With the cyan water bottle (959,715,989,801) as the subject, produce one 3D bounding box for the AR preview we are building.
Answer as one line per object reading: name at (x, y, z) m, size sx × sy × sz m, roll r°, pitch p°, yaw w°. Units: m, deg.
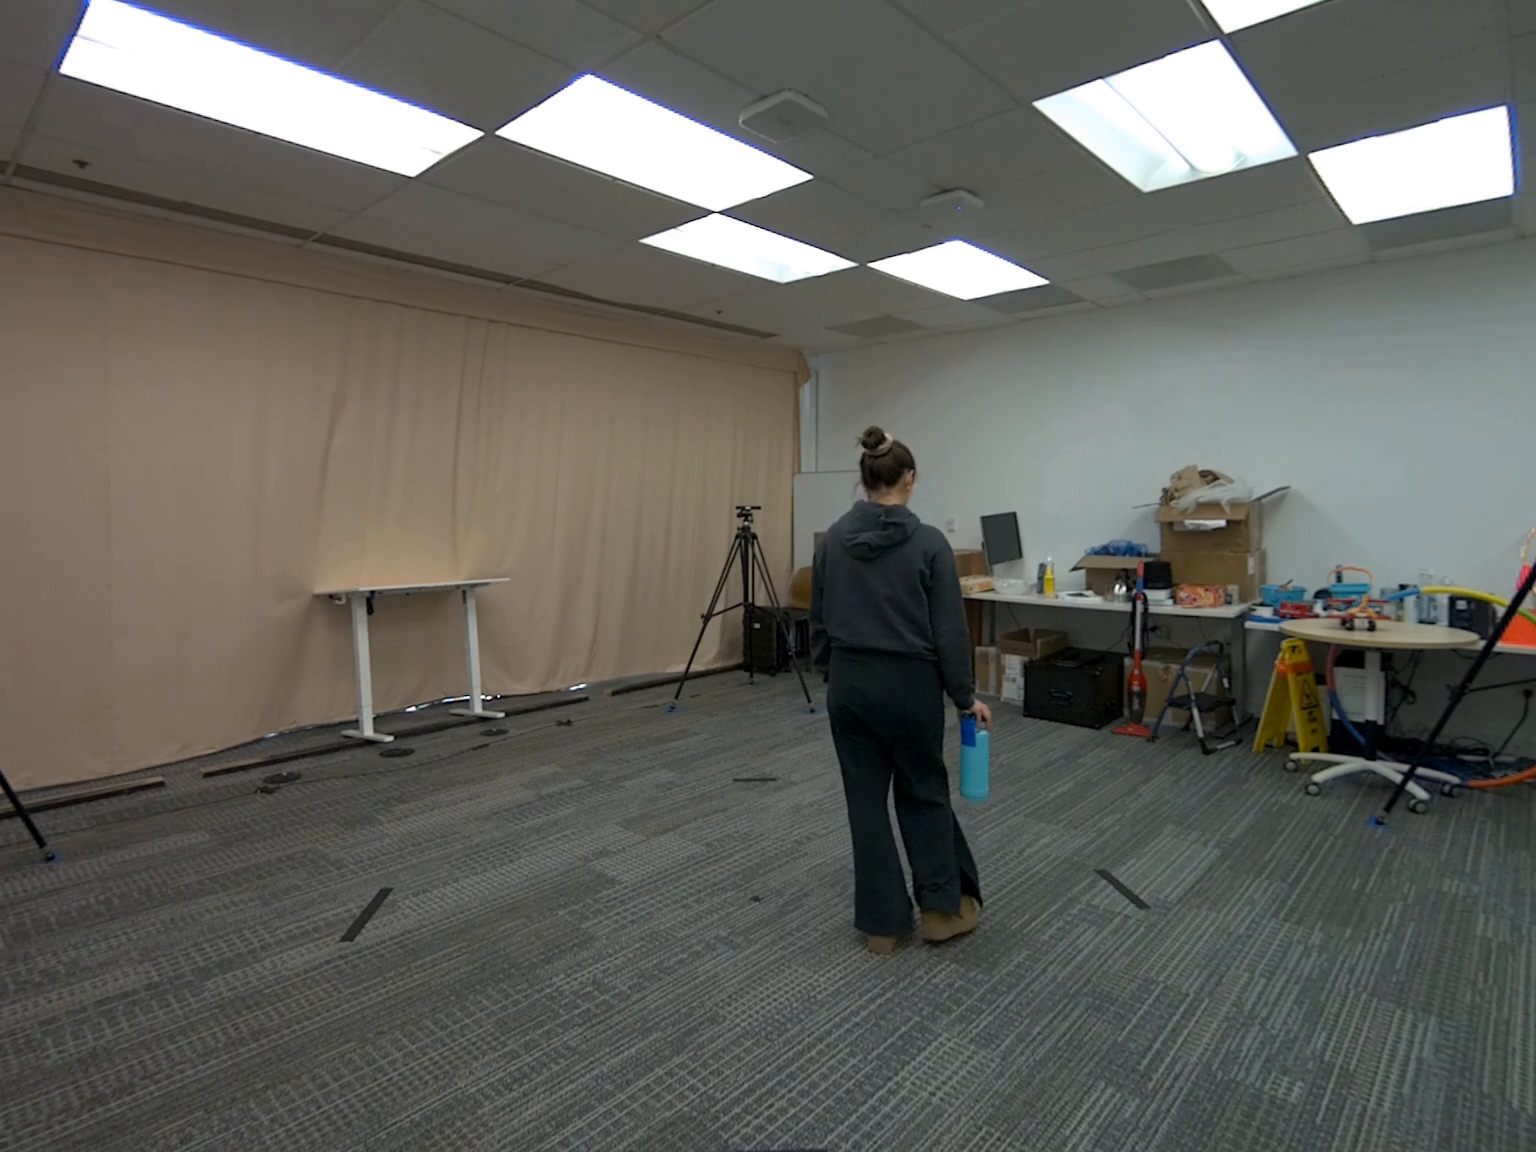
cyan water bottle at (0.673, 0.565, 2.665) m, size 0.092 × 0.282 × 0.093 m, roll -1°, pitch 6°, yaw -2°
